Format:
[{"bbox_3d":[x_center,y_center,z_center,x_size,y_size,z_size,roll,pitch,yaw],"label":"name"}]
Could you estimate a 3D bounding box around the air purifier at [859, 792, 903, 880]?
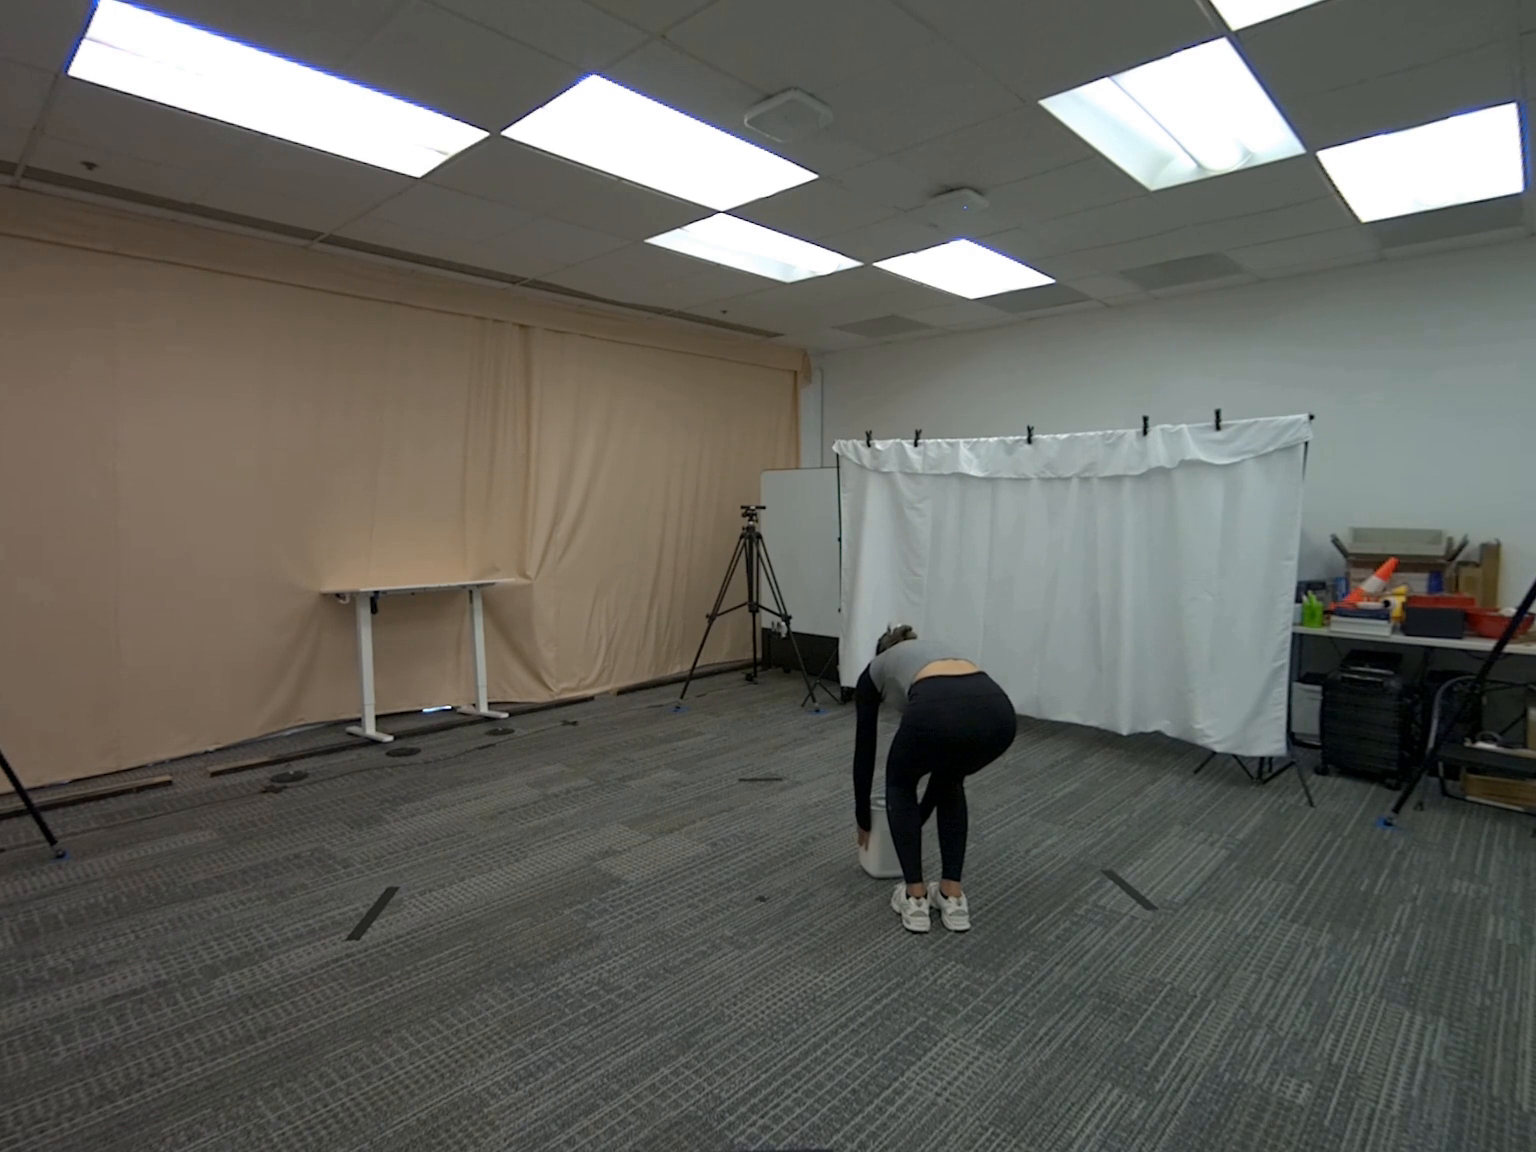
[{"bbox_3d":[0.450,0.989,3.192,0.169,0.265,0.174,0,4,-13],"label":"air purifier"}]
